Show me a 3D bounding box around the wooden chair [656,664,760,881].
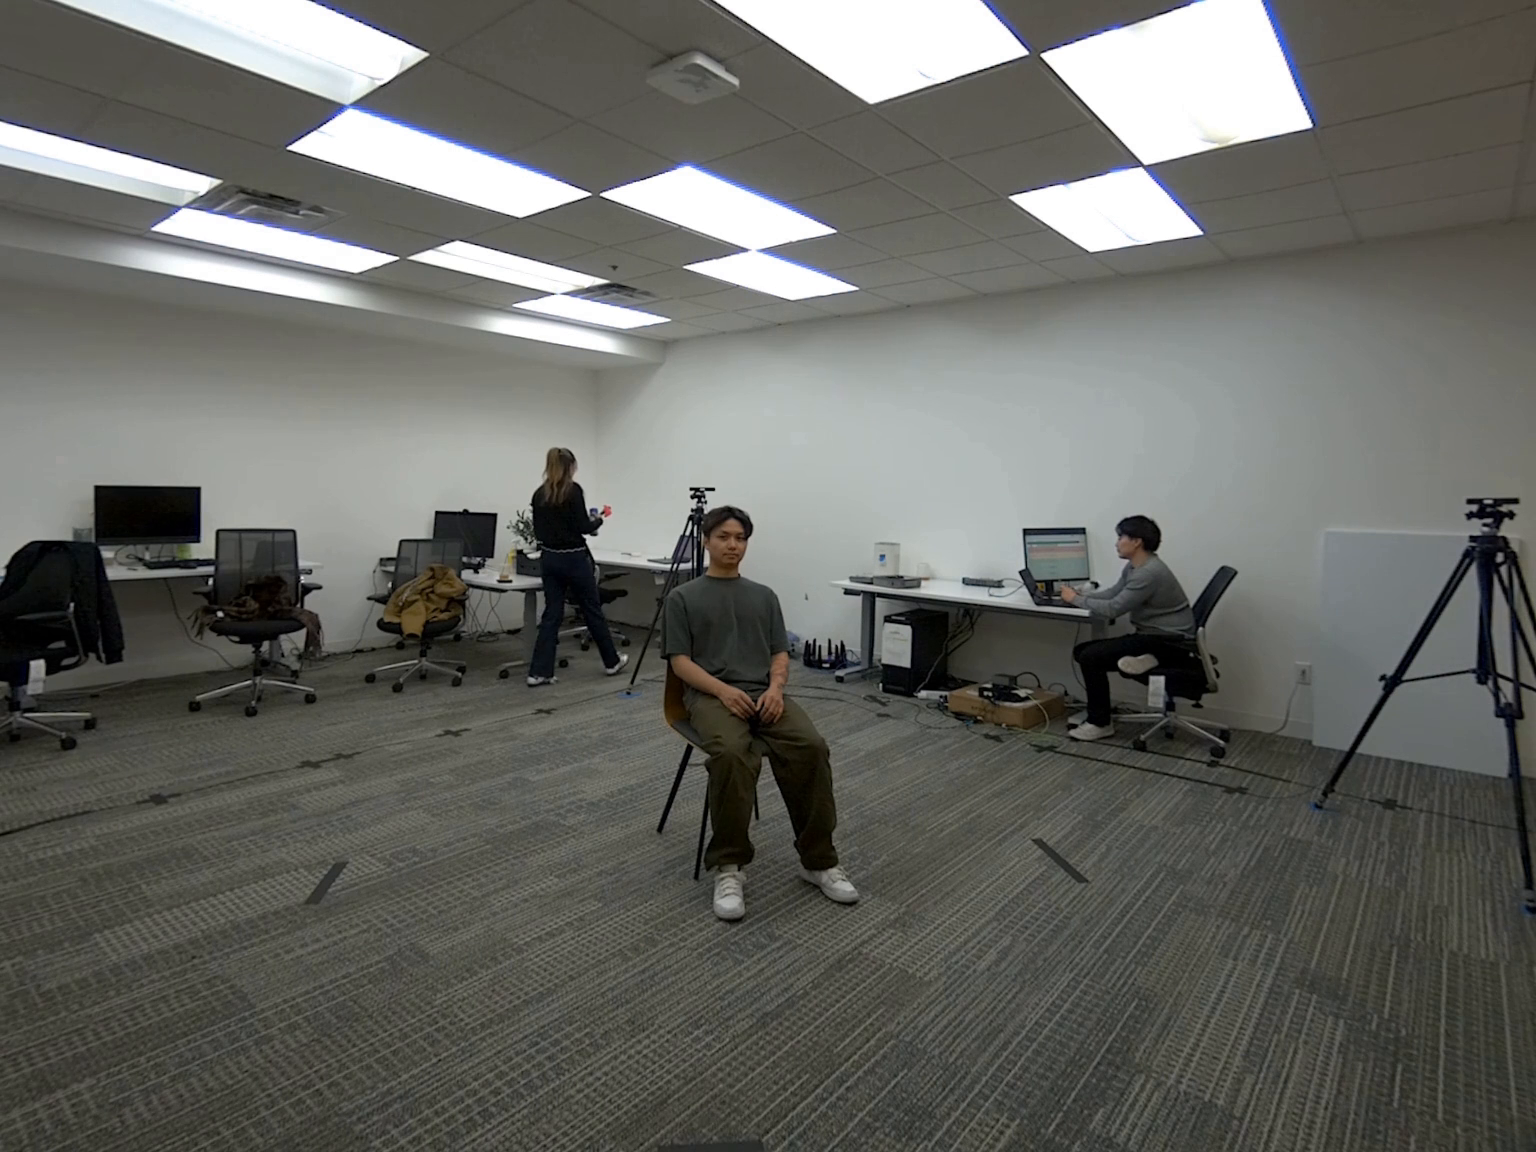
[{"bbox_3d":[-0.148,0.618,3.278,0.467,0.878,0.535,0,-1,-24],"label":"wooden chair"}]
